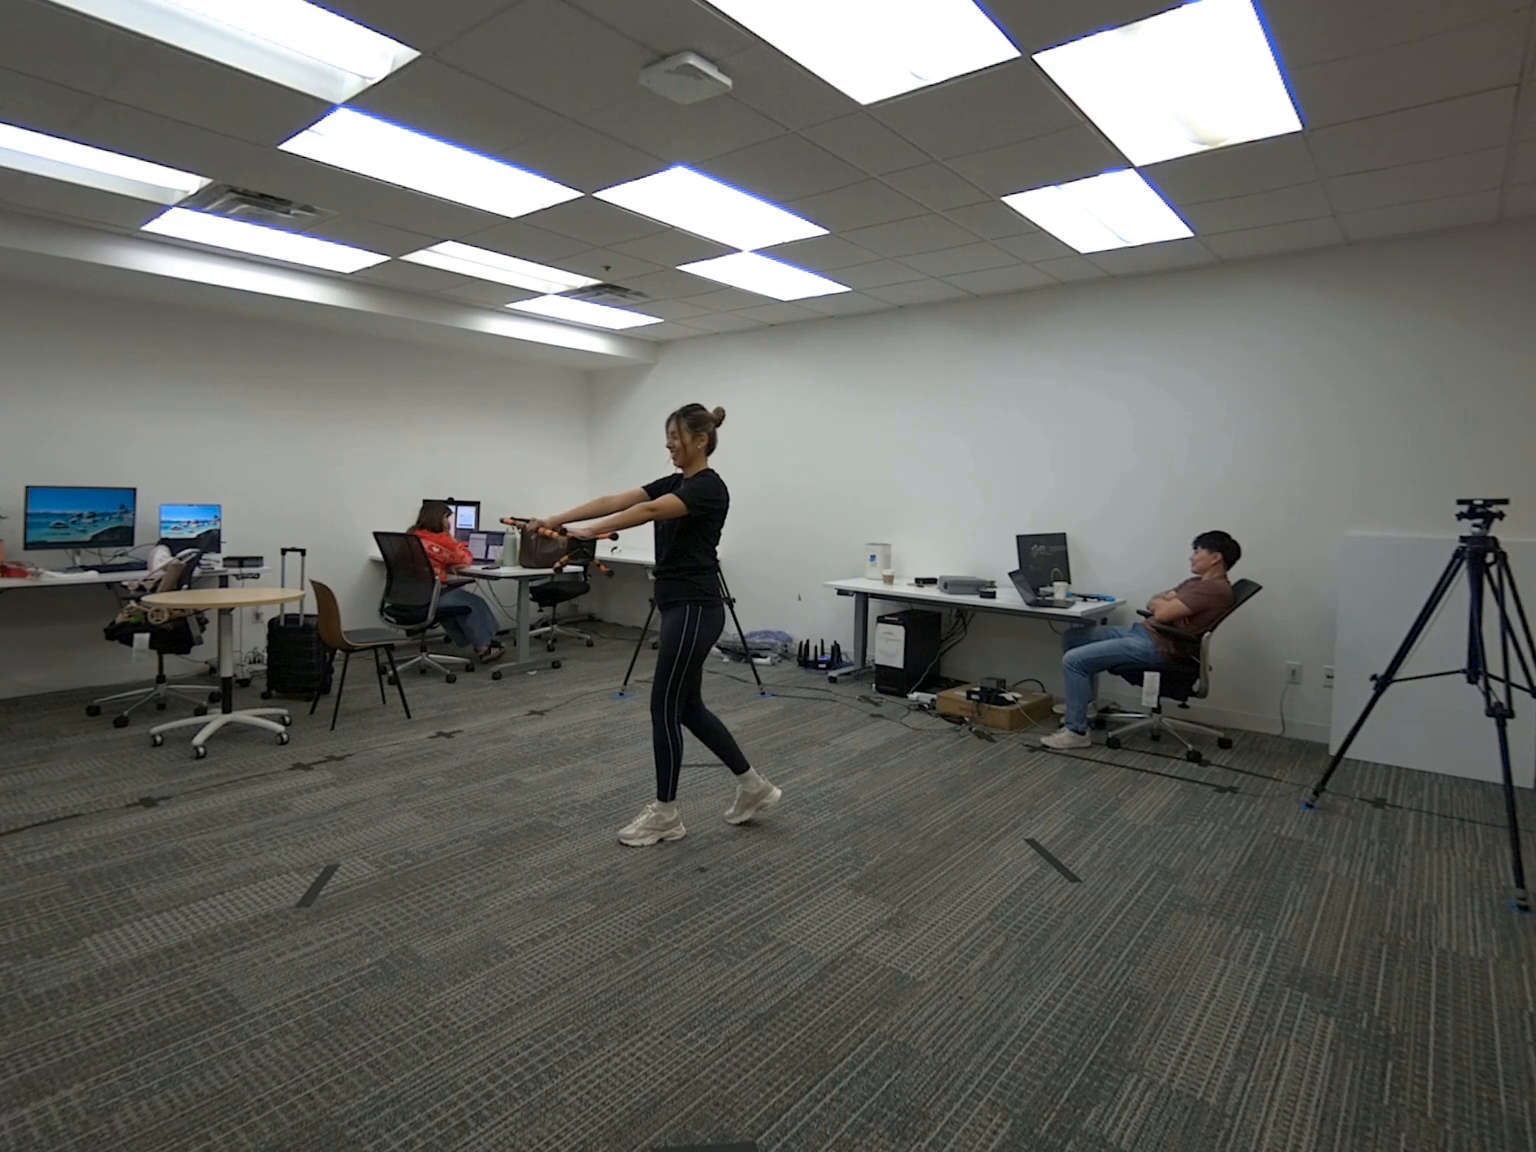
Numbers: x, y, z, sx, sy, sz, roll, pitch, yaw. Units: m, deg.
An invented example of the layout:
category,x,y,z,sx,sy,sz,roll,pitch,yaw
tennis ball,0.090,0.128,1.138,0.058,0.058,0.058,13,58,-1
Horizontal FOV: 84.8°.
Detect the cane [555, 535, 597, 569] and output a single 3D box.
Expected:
category,x,y,z,sx,sy,sz,roll,pitch,yaw
cane,-0.836,-0.143,3.135,0.200,0.151,0.939,6,6,-32
